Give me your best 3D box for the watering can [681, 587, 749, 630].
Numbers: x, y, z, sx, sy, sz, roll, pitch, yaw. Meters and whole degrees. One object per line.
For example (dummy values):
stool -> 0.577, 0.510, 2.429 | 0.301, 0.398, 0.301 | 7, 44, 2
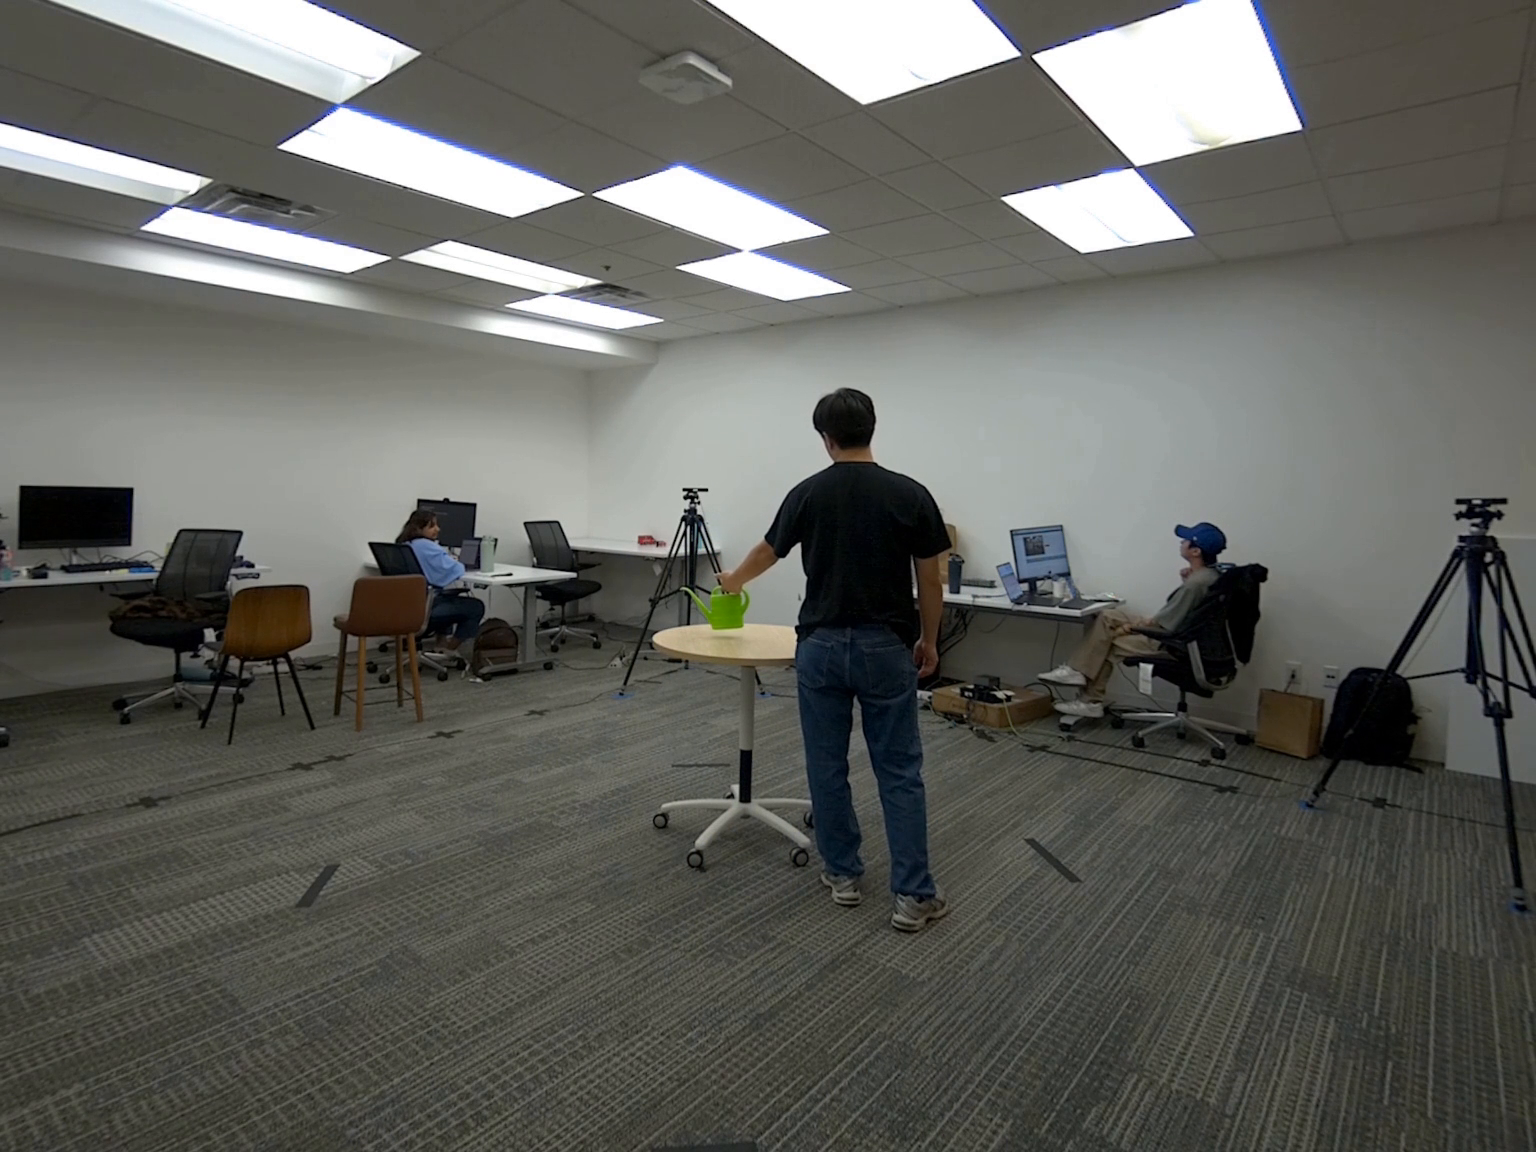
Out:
watering can -> -0.221, 0.124, 3.426 | 0.284, 0.177, 0.095 | -3, -2, 23
